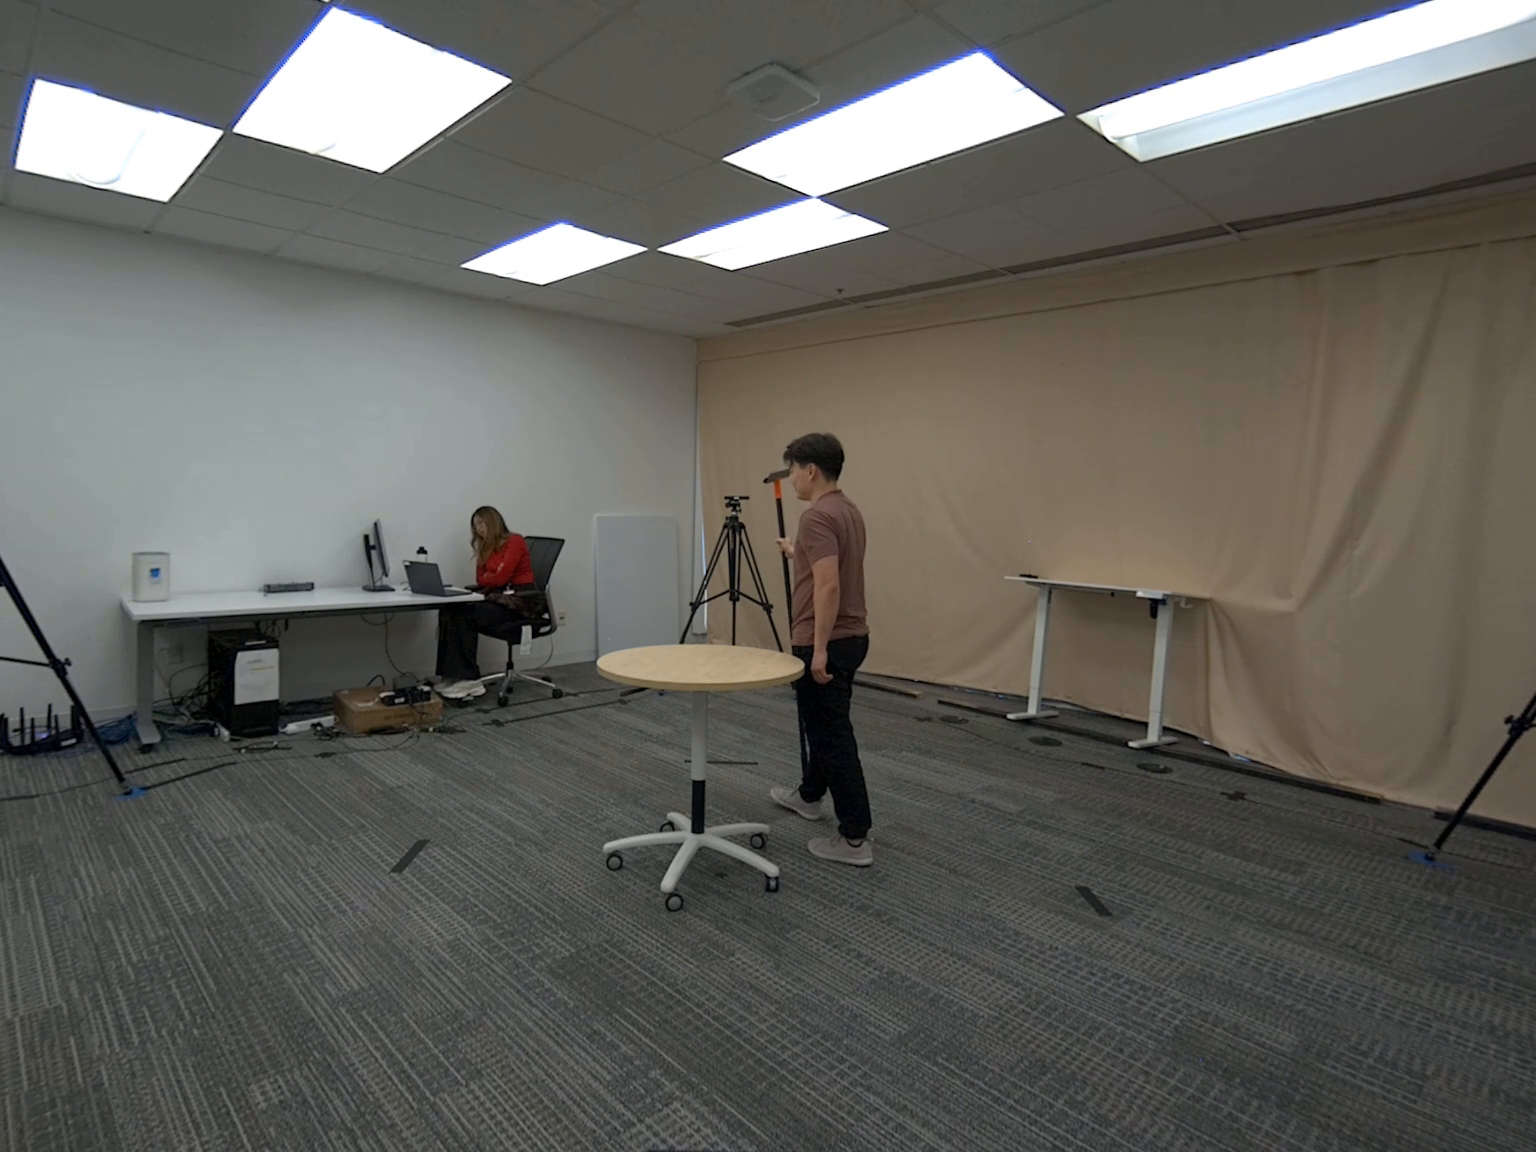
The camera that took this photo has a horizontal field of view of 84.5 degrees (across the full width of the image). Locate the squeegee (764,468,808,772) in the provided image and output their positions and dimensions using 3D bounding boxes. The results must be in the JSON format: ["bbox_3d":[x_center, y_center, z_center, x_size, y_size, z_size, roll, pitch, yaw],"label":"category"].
[{"bbox_3d":[0.102,0.272,3.958,0.054,1.531,0.433,-3,5,20],"label":"squeegee"}]
